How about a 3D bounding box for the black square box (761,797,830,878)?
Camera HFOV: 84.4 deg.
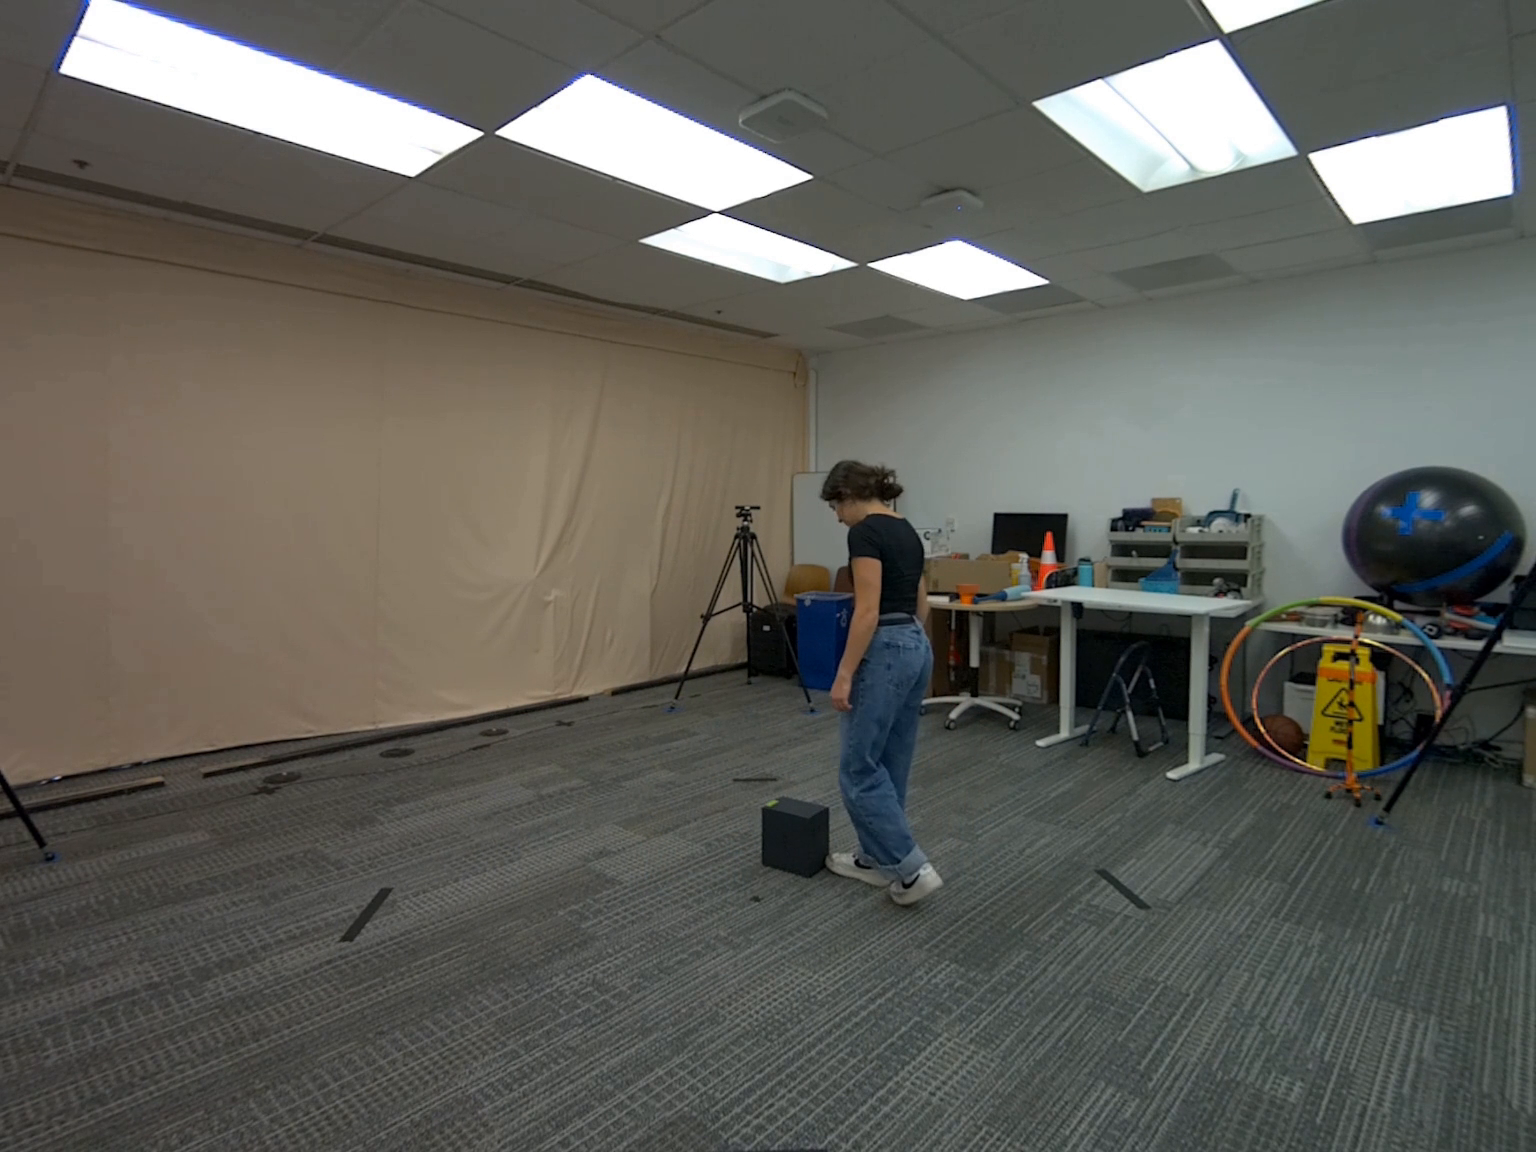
[{"bbox_3d":[0.112,0.998,3.256,0.224,0.227,0.151,2,4,34],"label":"black square box"}]
